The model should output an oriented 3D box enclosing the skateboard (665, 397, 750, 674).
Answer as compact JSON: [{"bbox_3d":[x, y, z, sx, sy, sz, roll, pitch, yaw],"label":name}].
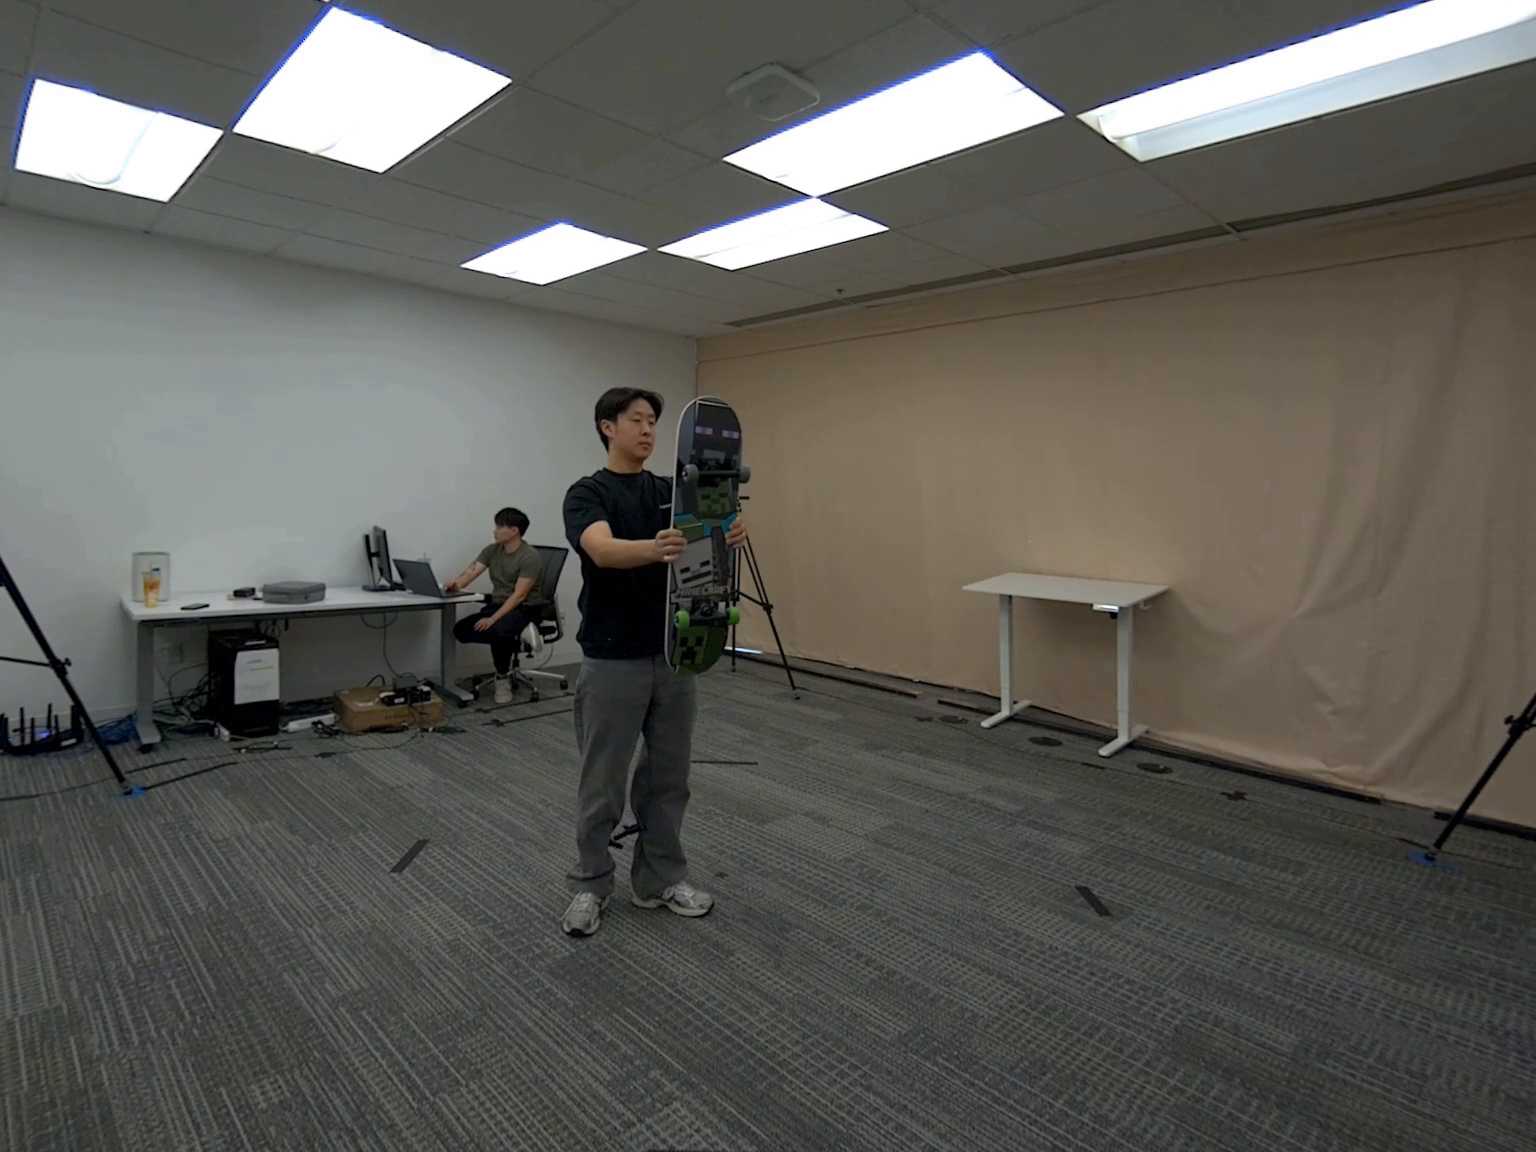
[{"bbox_3d":[-0.167,-0.082,2.288,0.190,0.779,0.113,-2,14,-26],"label":"skateboard"}]
